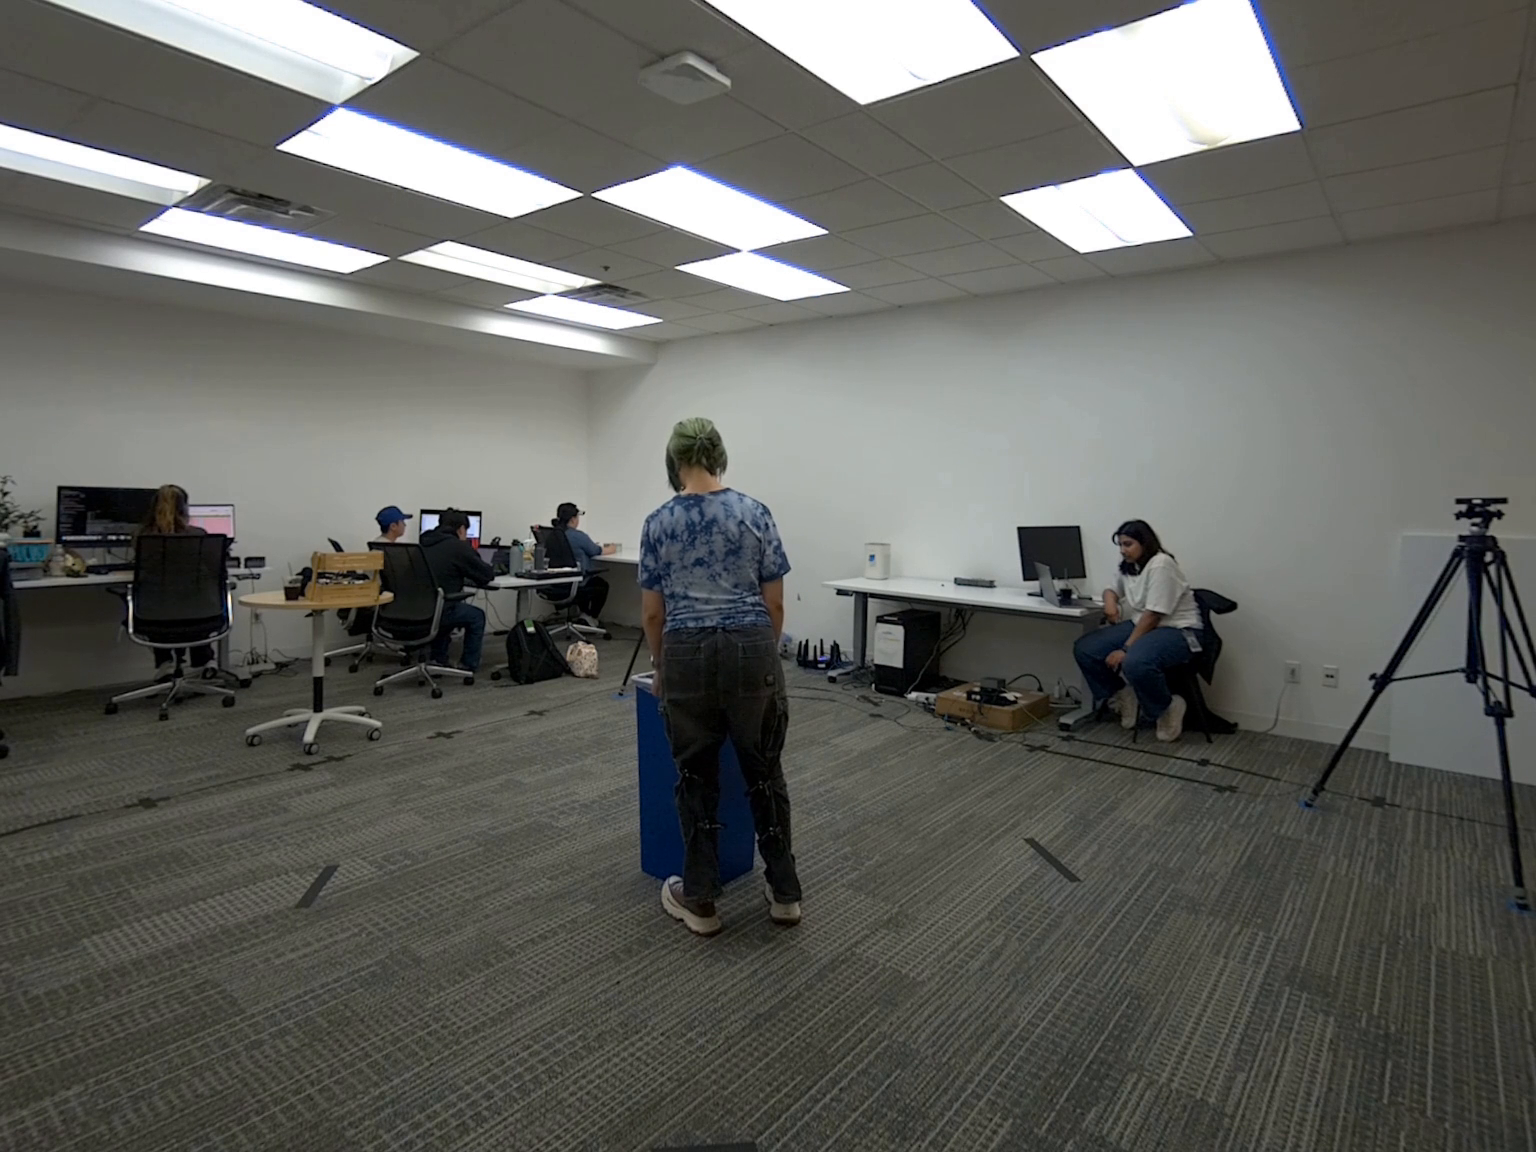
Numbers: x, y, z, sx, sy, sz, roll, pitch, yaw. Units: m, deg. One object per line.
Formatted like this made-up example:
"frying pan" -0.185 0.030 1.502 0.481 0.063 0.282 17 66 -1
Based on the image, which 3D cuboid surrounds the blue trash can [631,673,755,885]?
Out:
"blue trash can" -0.266 0.713 3.085 0.390 0.712 0.363 3 3 39
